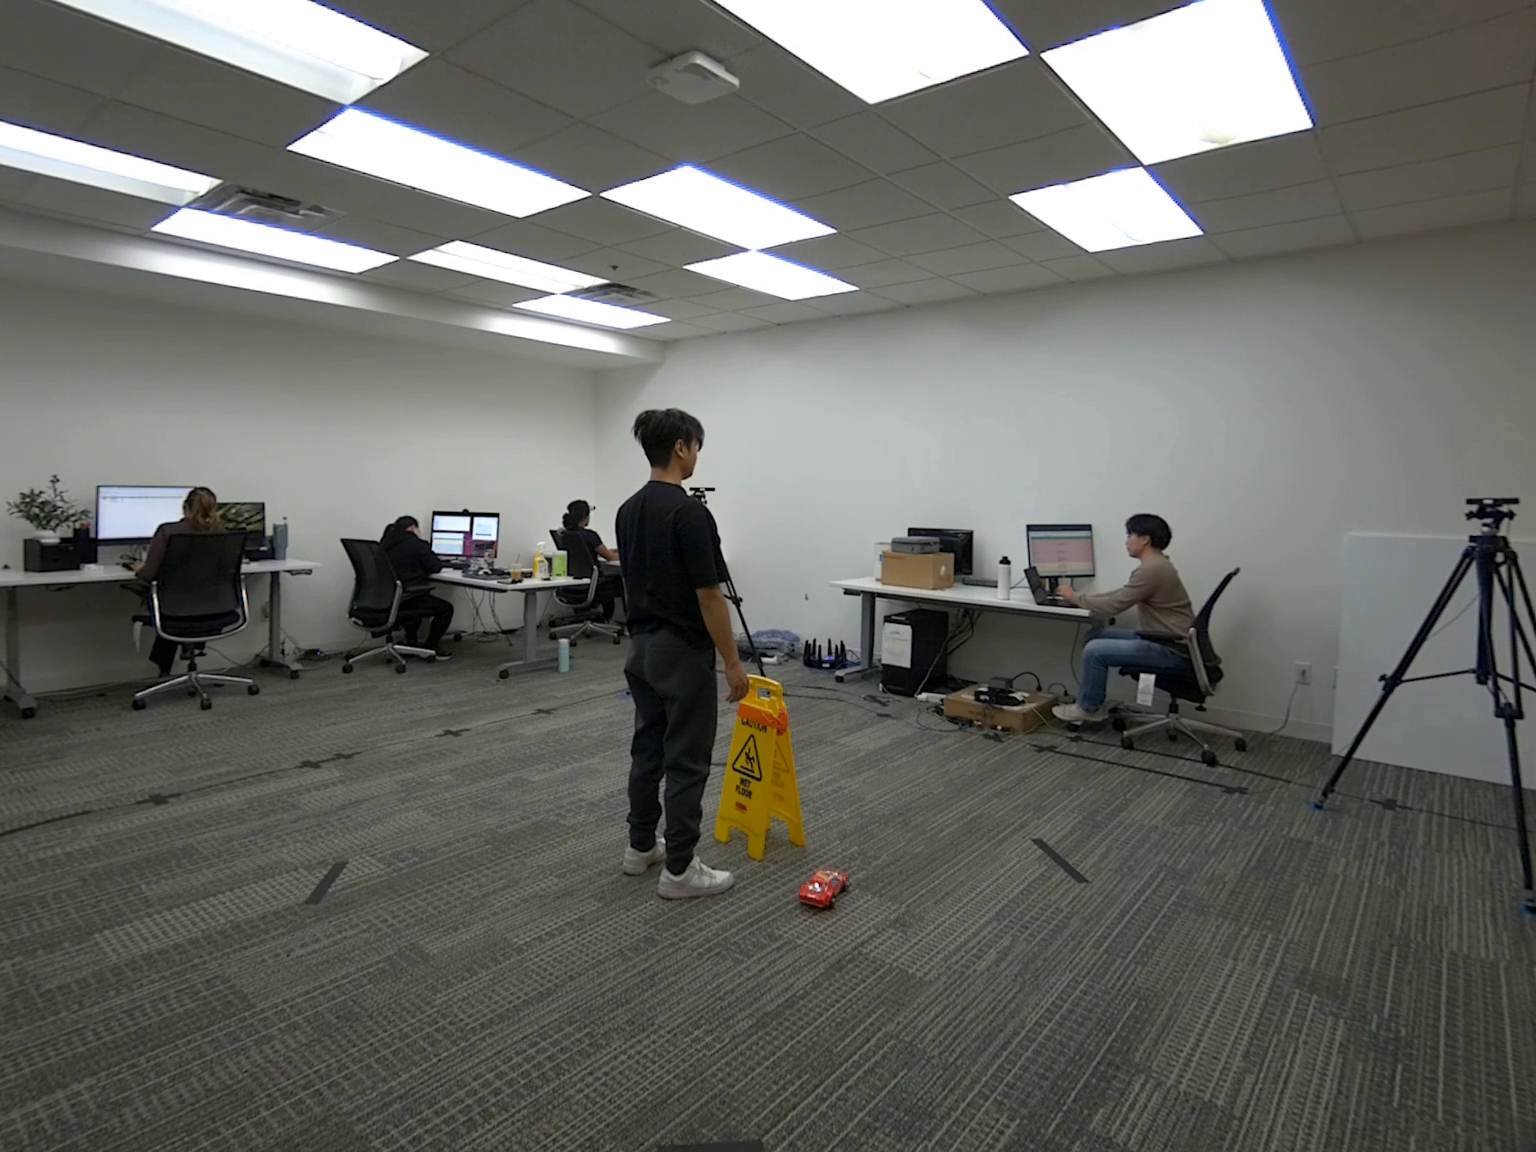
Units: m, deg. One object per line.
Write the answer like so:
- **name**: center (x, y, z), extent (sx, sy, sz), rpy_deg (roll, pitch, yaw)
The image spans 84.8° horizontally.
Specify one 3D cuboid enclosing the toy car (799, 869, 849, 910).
- **toy car**: center (0.183, 1.067, 2.900), extent (0.134, 0.083, 0.247), rpy_deg (4, -4, 25)
